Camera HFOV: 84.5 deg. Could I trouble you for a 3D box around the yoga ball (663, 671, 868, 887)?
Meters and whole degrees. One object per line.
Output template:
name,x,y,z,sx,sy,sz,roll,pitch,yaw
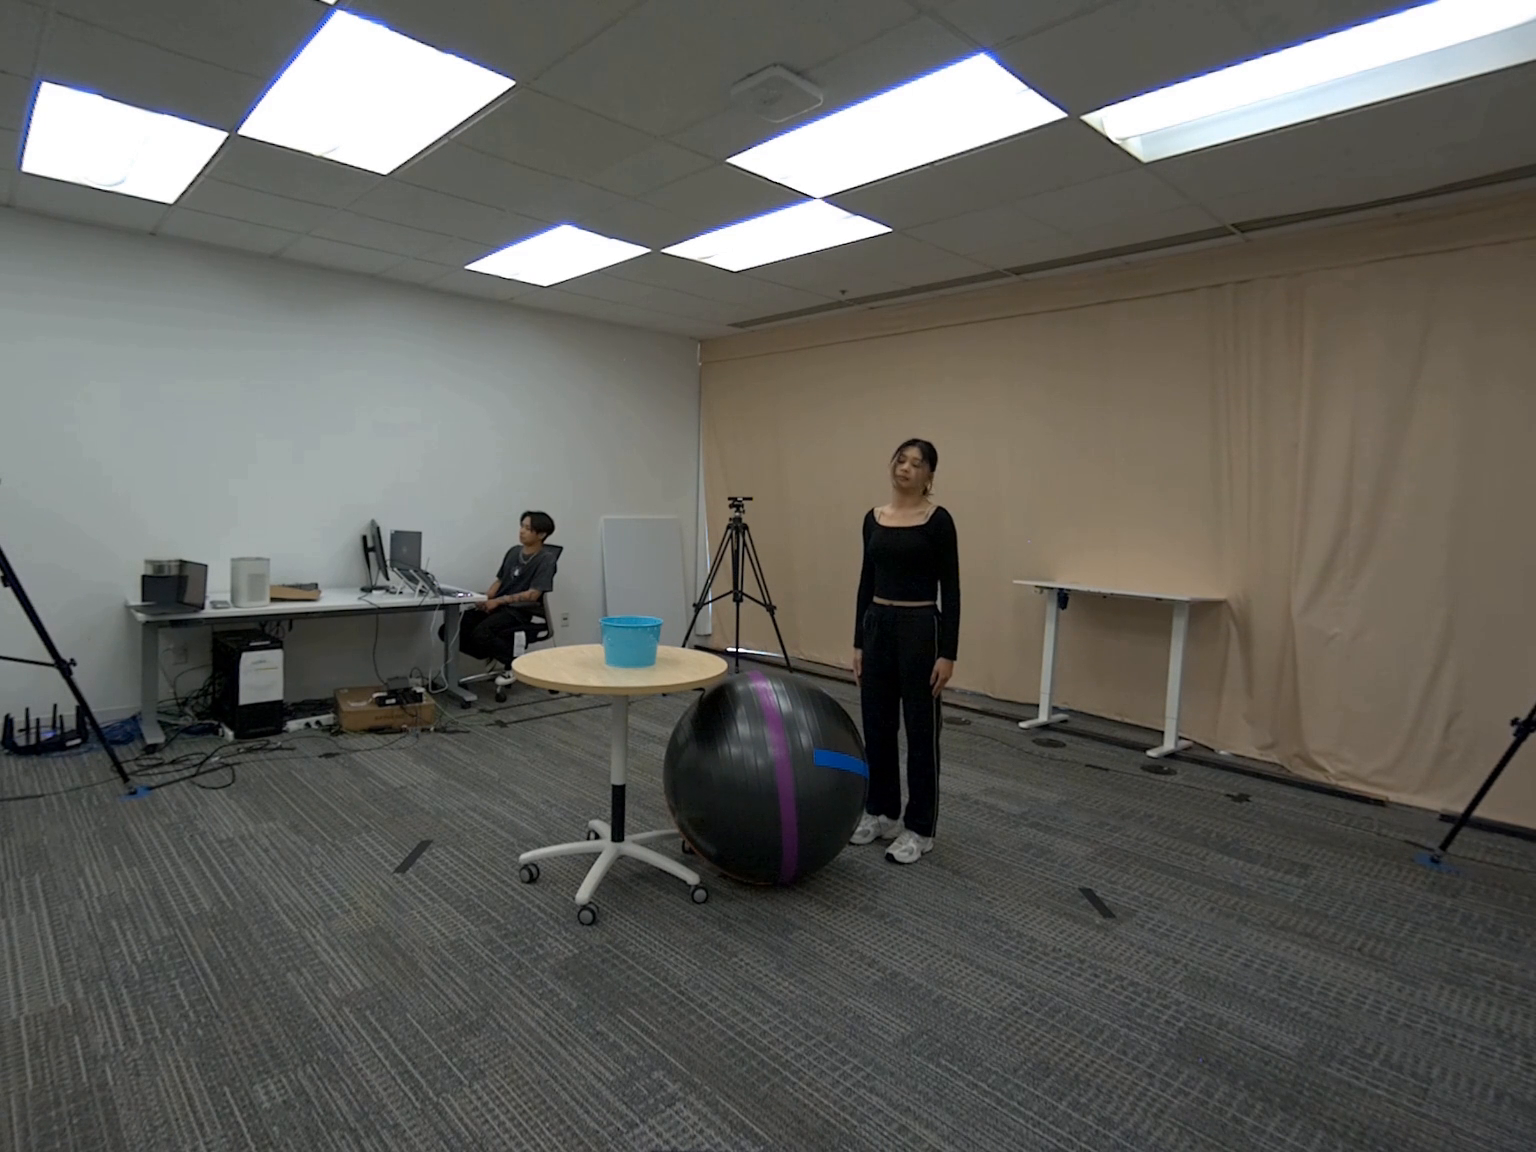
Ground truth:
yoga ball,-0.004,0.745,3.126,0.757,0.756,0.761,1,4,-1
